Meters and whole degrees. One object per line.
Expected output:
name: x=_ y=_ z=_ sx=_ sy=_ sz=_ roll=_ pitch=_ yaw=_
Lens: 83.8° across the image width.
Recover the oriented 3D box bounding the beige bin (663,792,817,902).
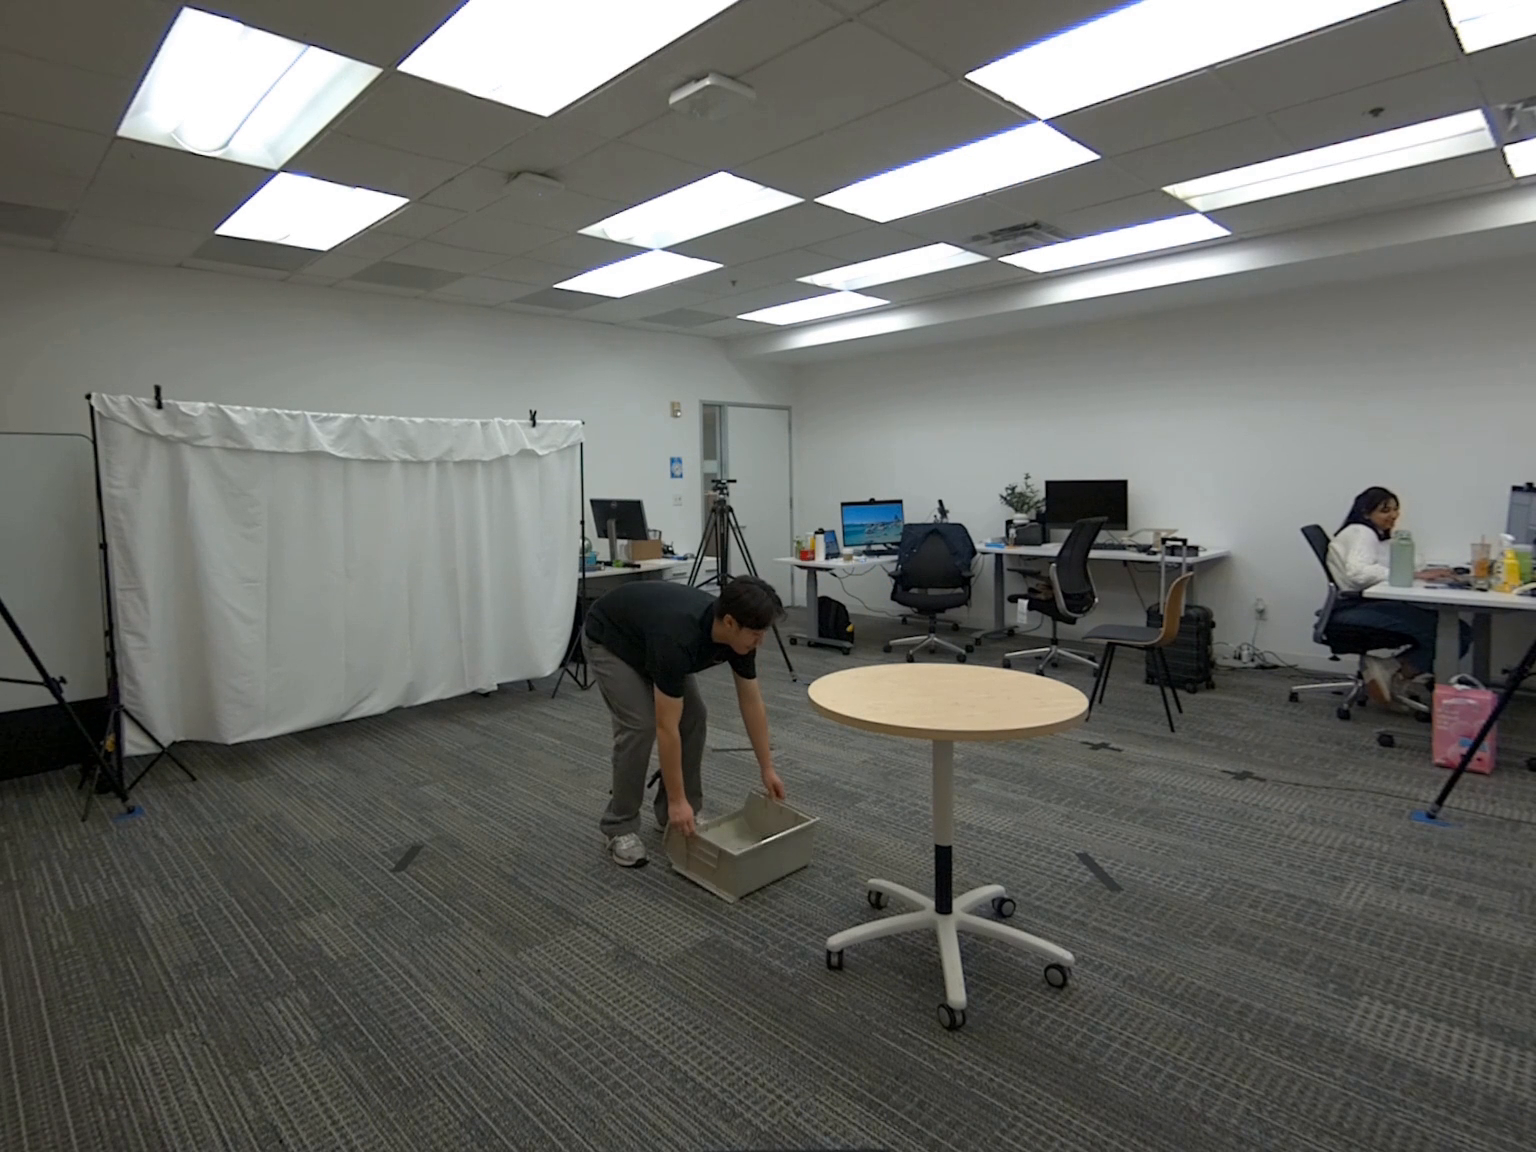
beige bin: x=-0.092 y=0.932 z=3.064 sx=0.390 sy=0.188 sz=0.411 roll=11 pitch=12 yaw=44
